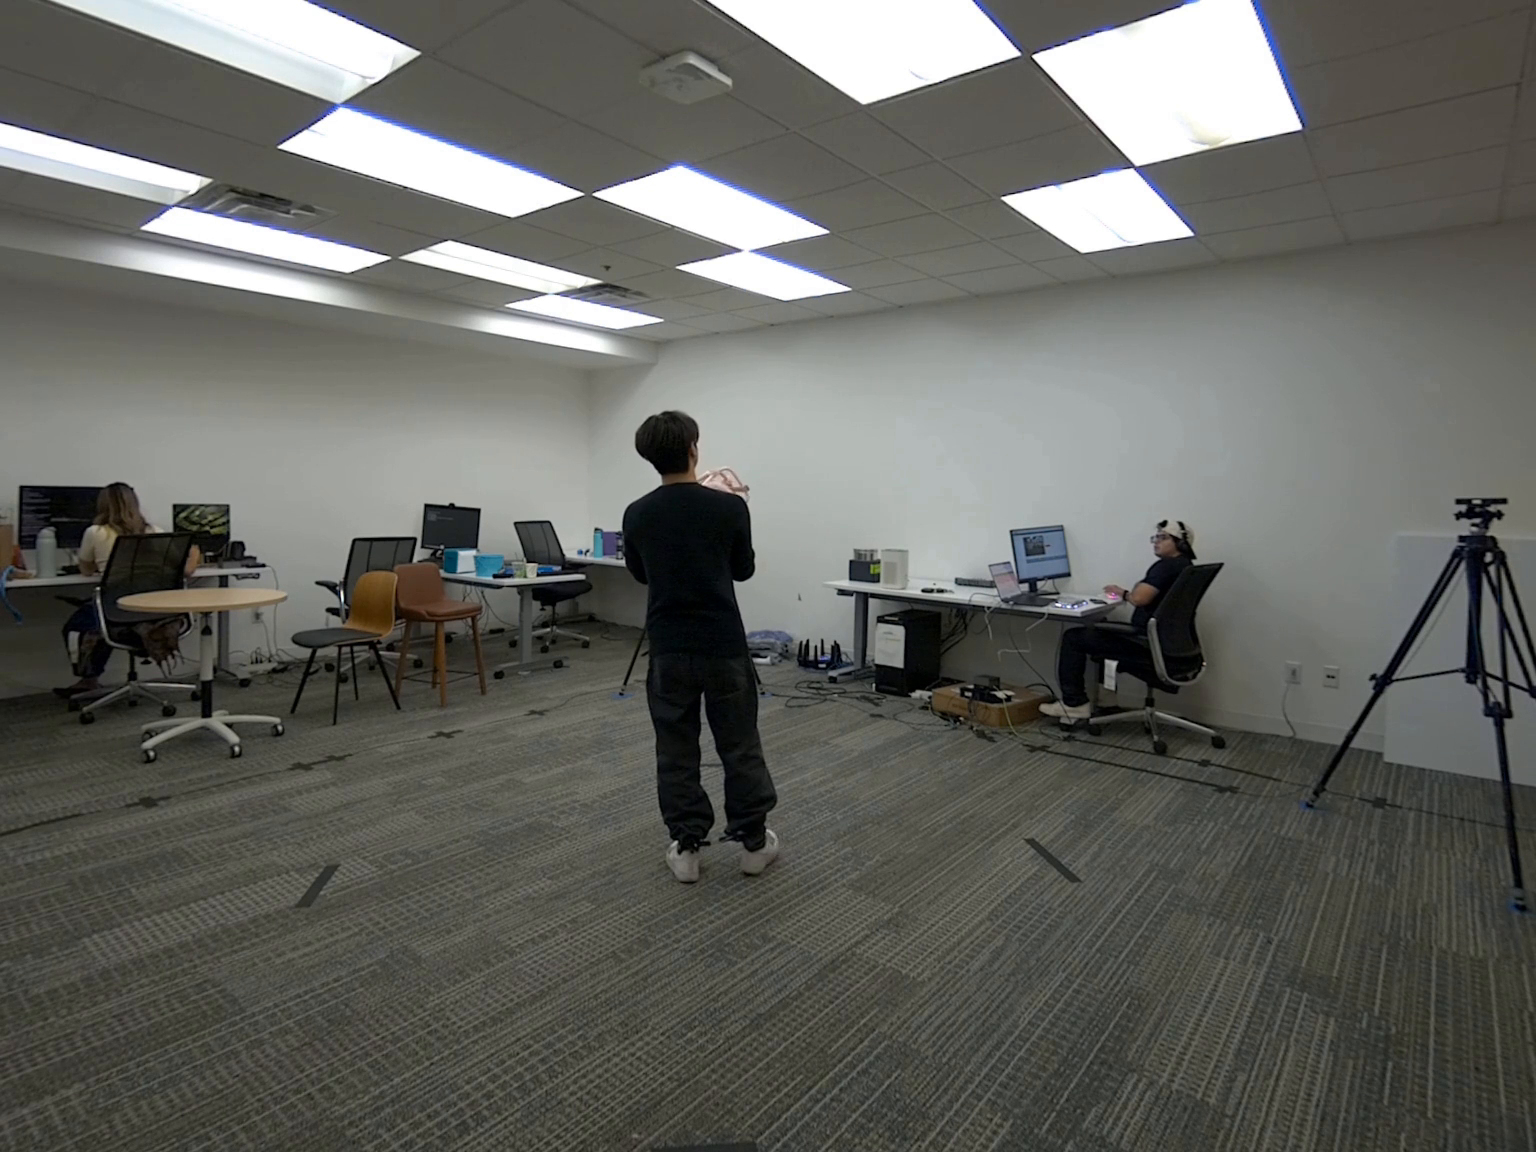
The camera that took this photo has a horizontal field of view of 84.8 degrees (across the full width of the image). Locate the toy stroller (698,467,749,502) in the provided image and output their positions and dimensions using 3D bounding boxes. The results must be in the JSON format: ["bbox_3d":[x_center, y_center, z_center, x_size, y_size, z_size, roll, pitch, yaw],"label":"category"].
[{"bbox_3d":[-0.241,-0.316,3.661,0.340,0.276,0.546,-32,15,-8],"label":"toy stroller"}]
